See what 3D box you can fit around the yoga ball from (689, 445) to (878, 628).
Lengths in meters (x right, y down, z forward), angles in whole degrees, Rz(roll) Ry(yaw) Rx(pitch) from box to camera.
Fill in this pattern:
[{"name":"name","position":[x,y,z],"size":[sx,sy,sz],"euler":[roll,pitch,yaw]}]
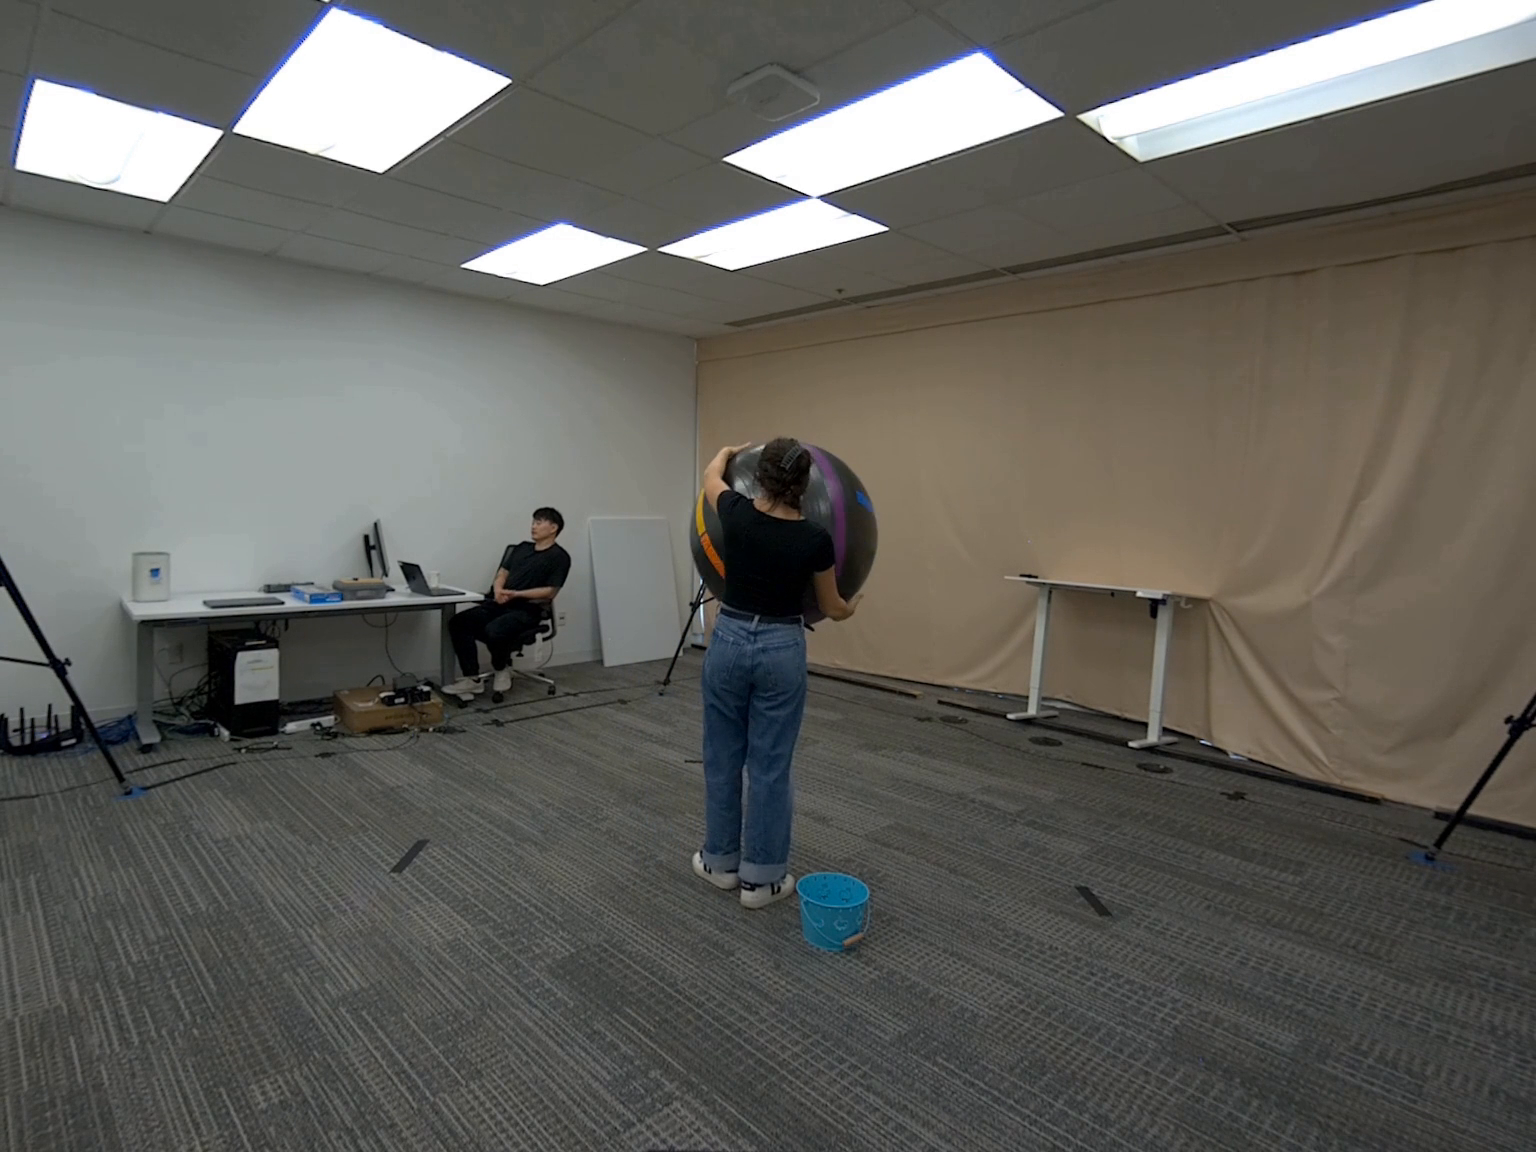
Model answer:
[{"name":"yoga ball","position":[0.056,-0.163,3.418],"size":[0.757,0.756,0.761],"euler":[1,4,-1]}]
